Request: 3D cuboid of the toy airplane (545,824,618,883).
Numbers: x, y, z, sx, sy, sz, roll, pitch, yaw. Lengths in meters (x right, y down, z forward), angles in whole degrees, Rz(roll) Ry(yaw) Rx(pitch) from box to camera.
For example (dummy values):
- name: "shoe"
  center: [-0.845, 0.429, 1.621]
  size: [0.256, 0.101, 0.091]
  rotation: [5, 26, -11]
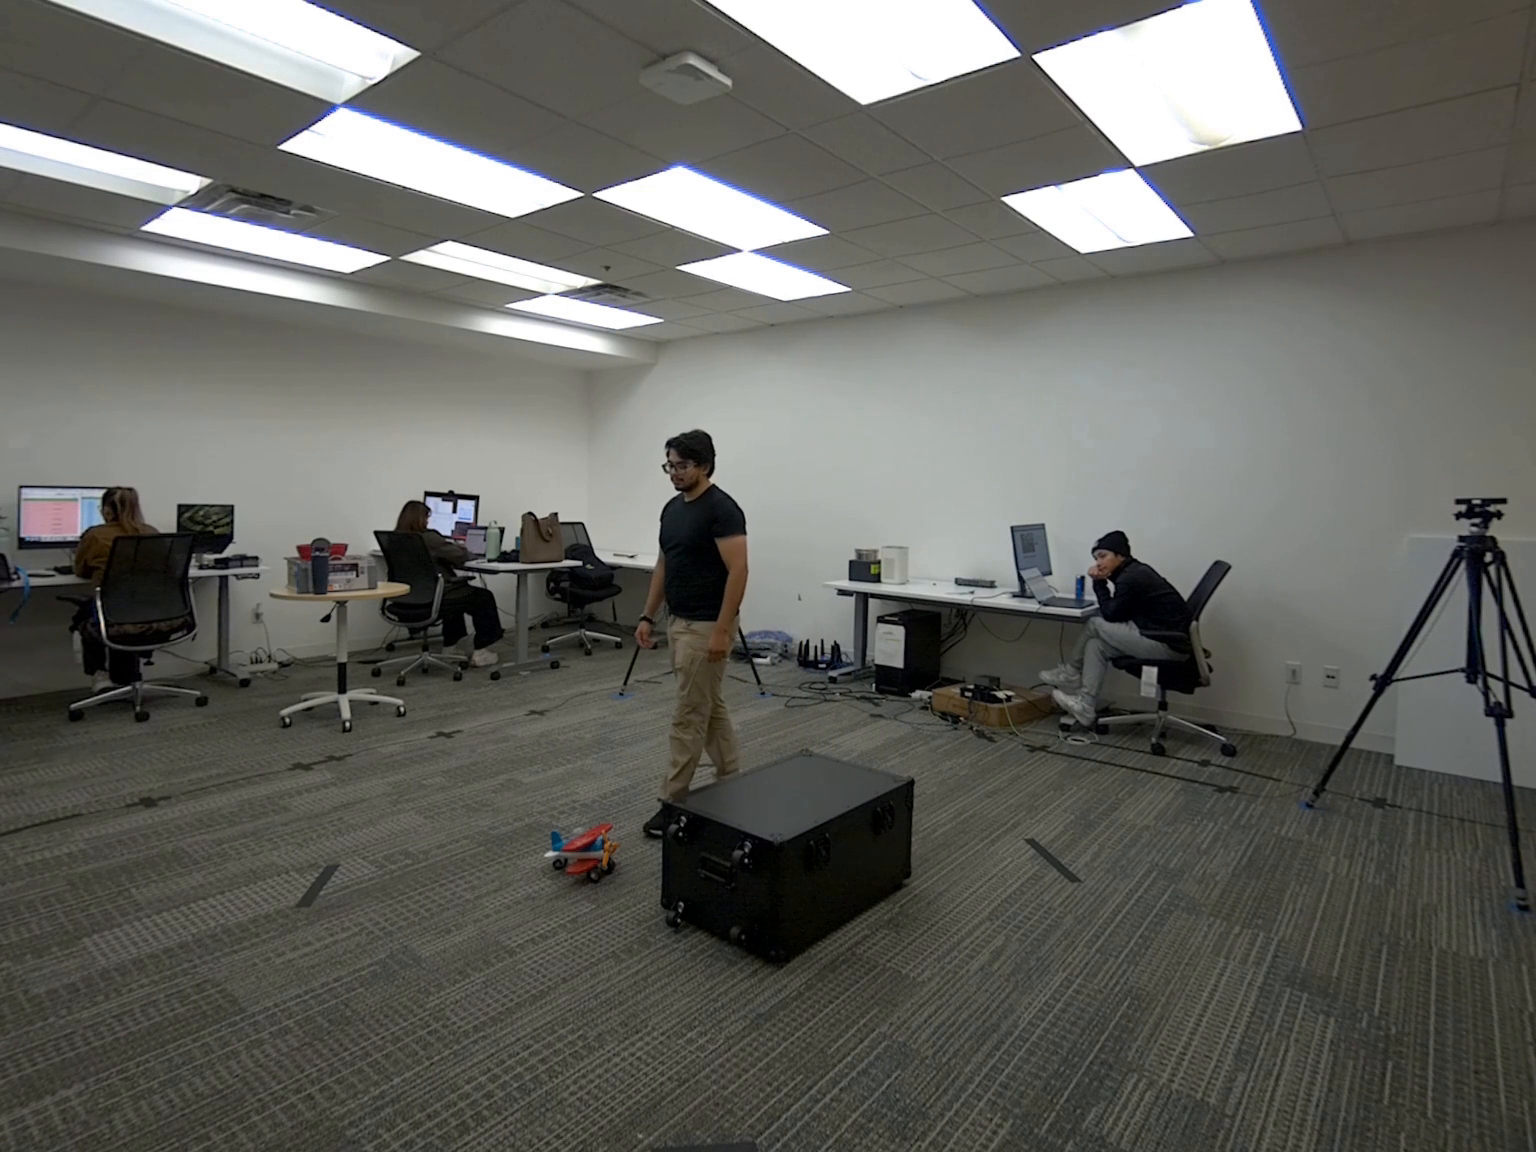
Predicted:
- name: "toy airplane"
  center: [-0.686, 0.993, 3.046]
  size: [0.258, 0.156, 0.253]
  rotation: [2, 4, -5]
